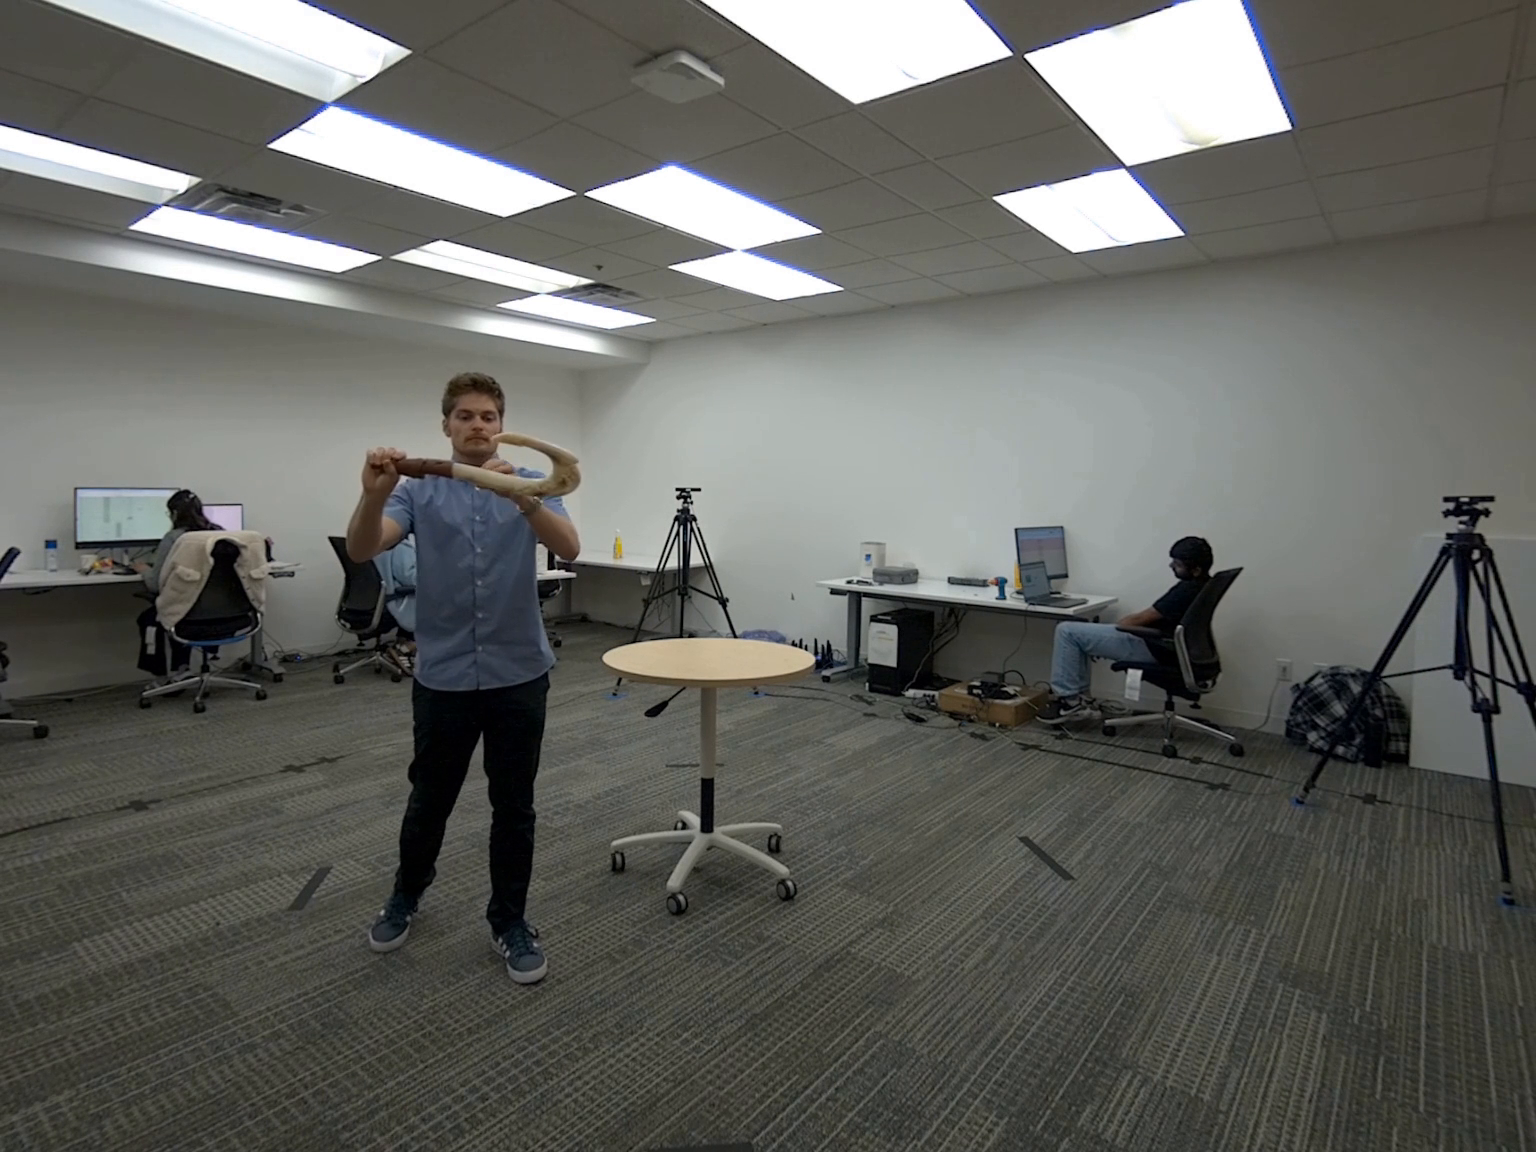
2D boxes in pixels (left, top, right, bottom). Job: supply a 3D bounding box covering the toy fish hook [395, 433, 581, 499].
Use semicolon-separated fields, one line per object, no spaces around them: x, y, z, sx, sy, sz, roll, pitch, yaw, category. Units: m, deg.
-0.712;-0.272;1.984;0.505;0.049;0.219;6;-37;-2;toy fish hook
